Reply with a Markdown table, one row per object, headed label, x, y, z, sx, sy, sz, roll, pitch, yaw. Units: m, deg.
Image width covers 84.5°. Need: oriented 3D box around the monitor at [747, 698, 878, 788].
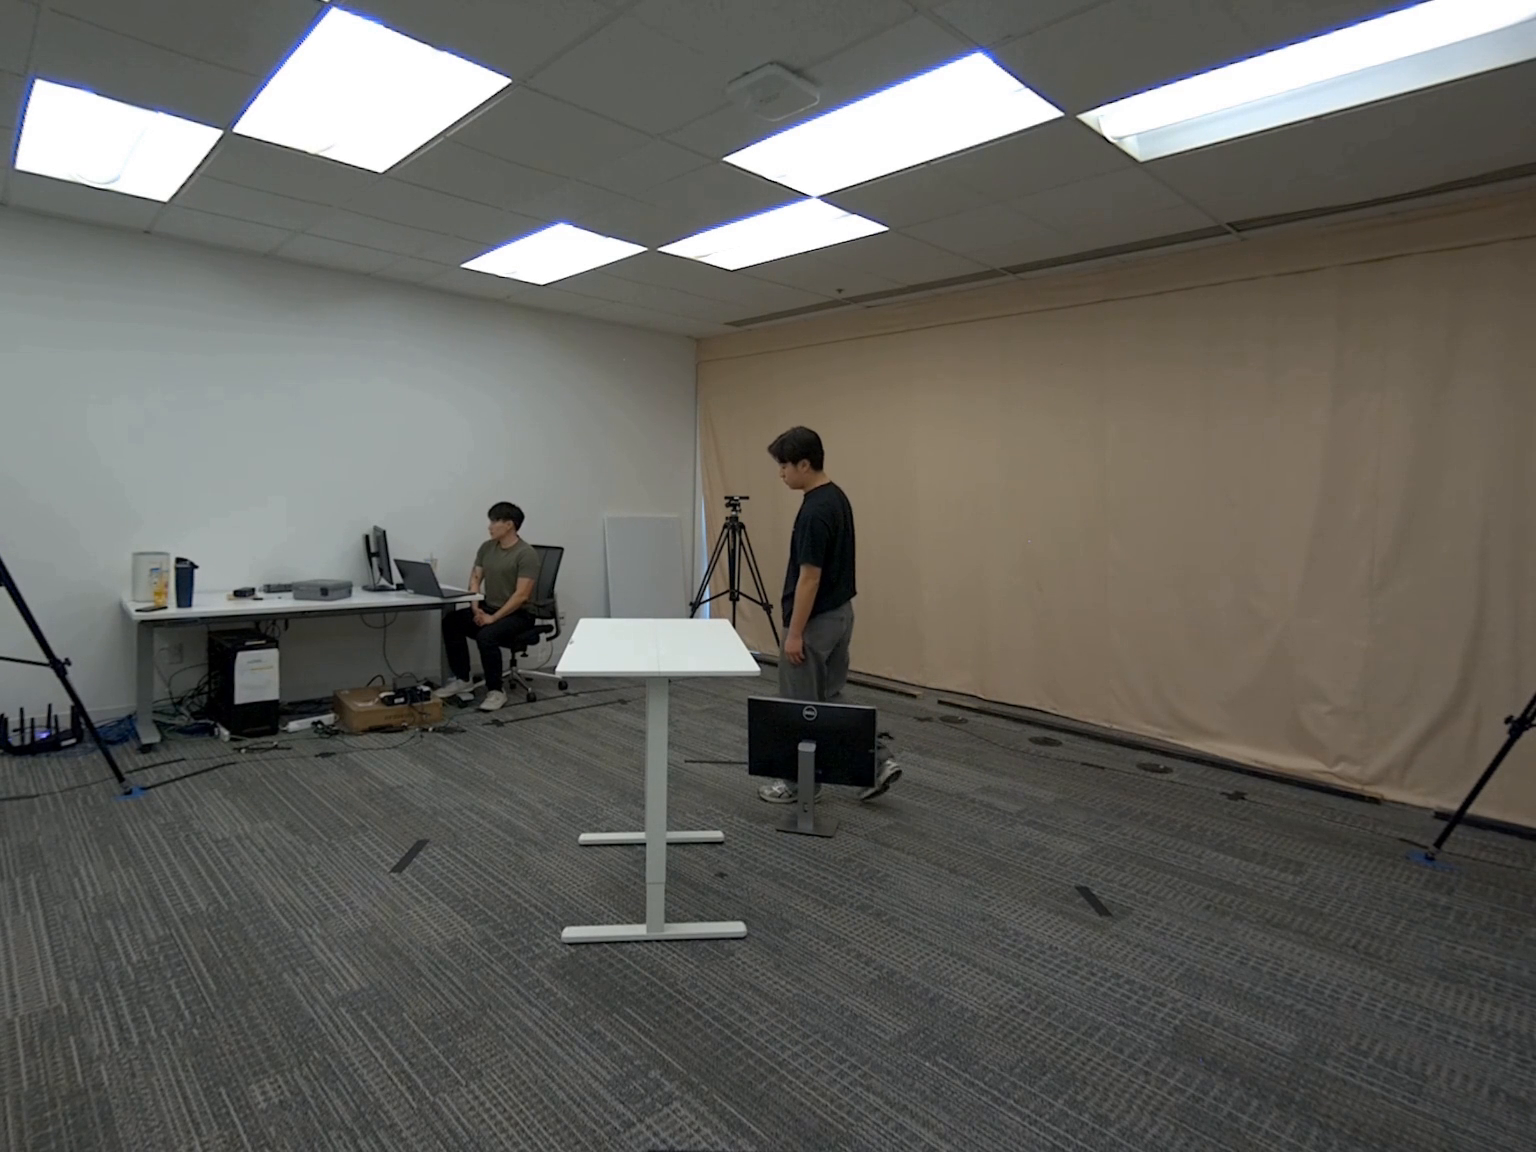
| label | x | y | z | sx | sy | sz | roll | pitch | yaw |
| --- | --- | --- | --- | --- | --- | --- | --- | --- | --- |
| monitor | 0.160 | 0.812 | 3.591 | 0.570 | 0.566 | 0.219 | 2 | -1 | 17 |
